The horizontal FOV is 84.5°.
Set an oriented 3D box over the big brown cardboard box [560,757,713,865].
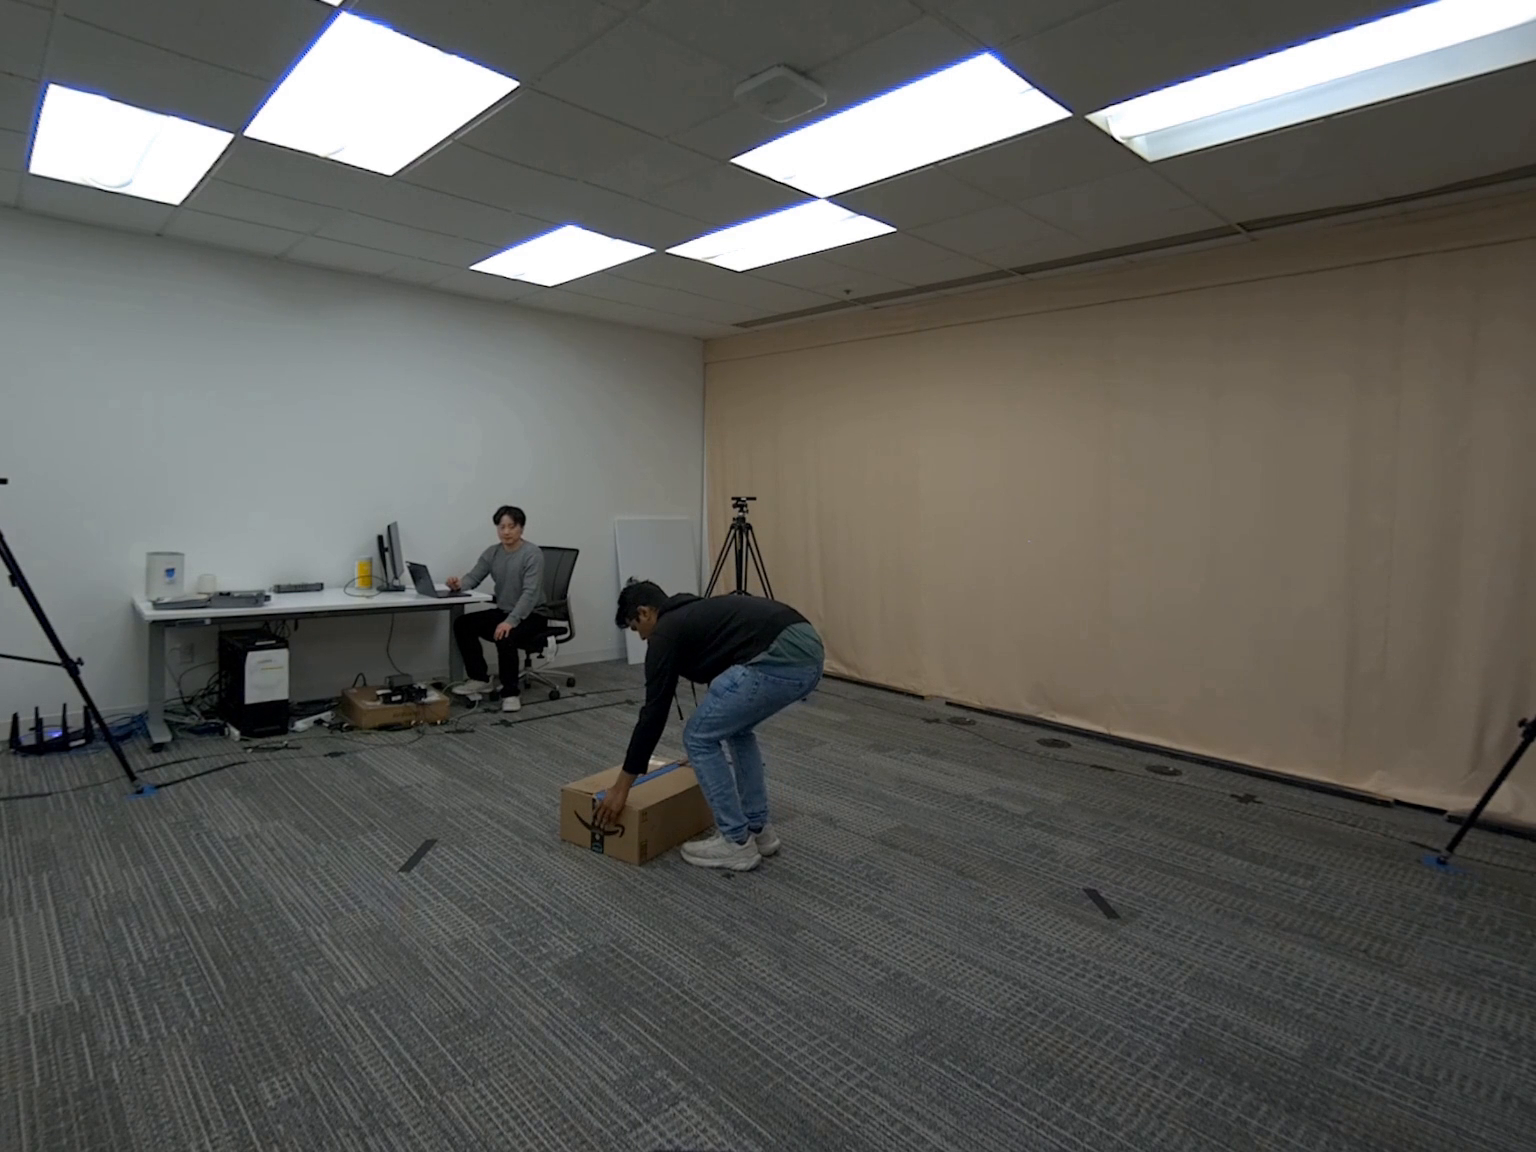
[{"bbox_3d":[-0.515,0.943,3.511,0.427,0.232,0.577,4,6,31],"label":"big brown cardboard box"}]
